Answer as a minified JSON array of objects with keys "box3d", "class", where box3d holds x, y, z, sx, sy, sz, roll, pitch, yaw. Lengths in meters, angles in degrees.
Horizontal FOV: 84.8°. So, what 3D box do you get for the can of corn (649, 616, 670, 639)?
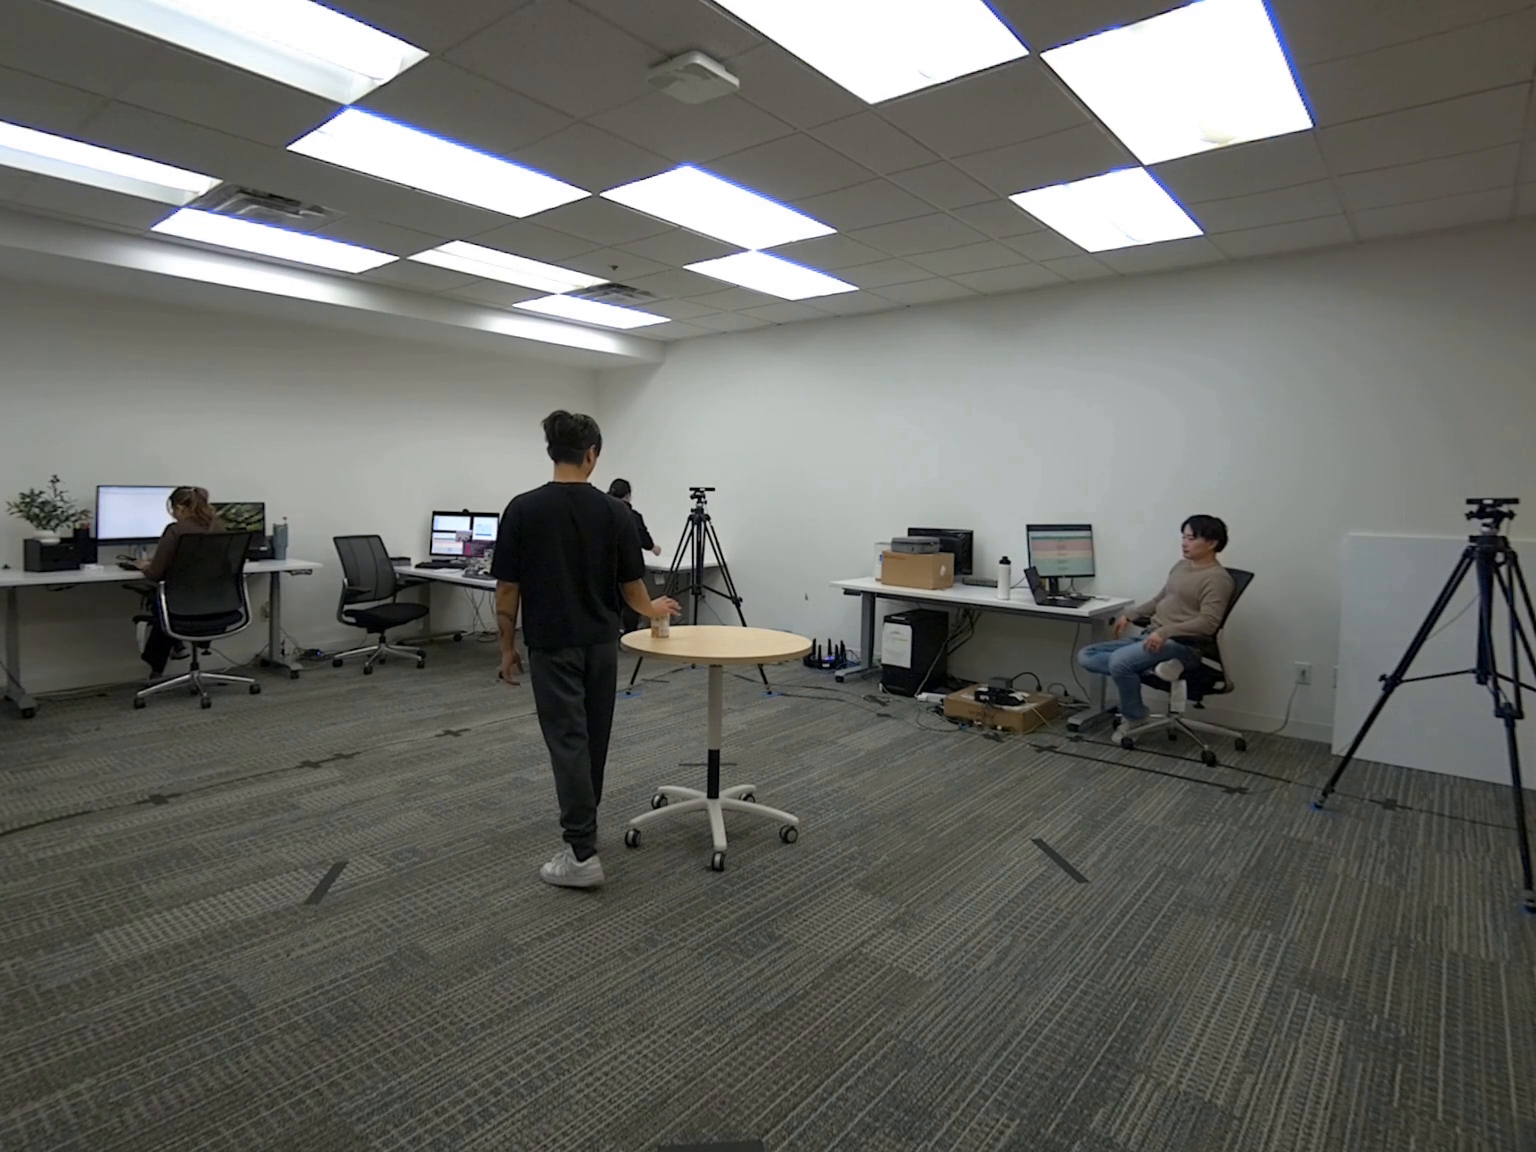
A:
[{"box3d":[-0.450,0.189,3.468,0.074,0.111,0.074,-2,2,-2],"class":"can of corn"}]
